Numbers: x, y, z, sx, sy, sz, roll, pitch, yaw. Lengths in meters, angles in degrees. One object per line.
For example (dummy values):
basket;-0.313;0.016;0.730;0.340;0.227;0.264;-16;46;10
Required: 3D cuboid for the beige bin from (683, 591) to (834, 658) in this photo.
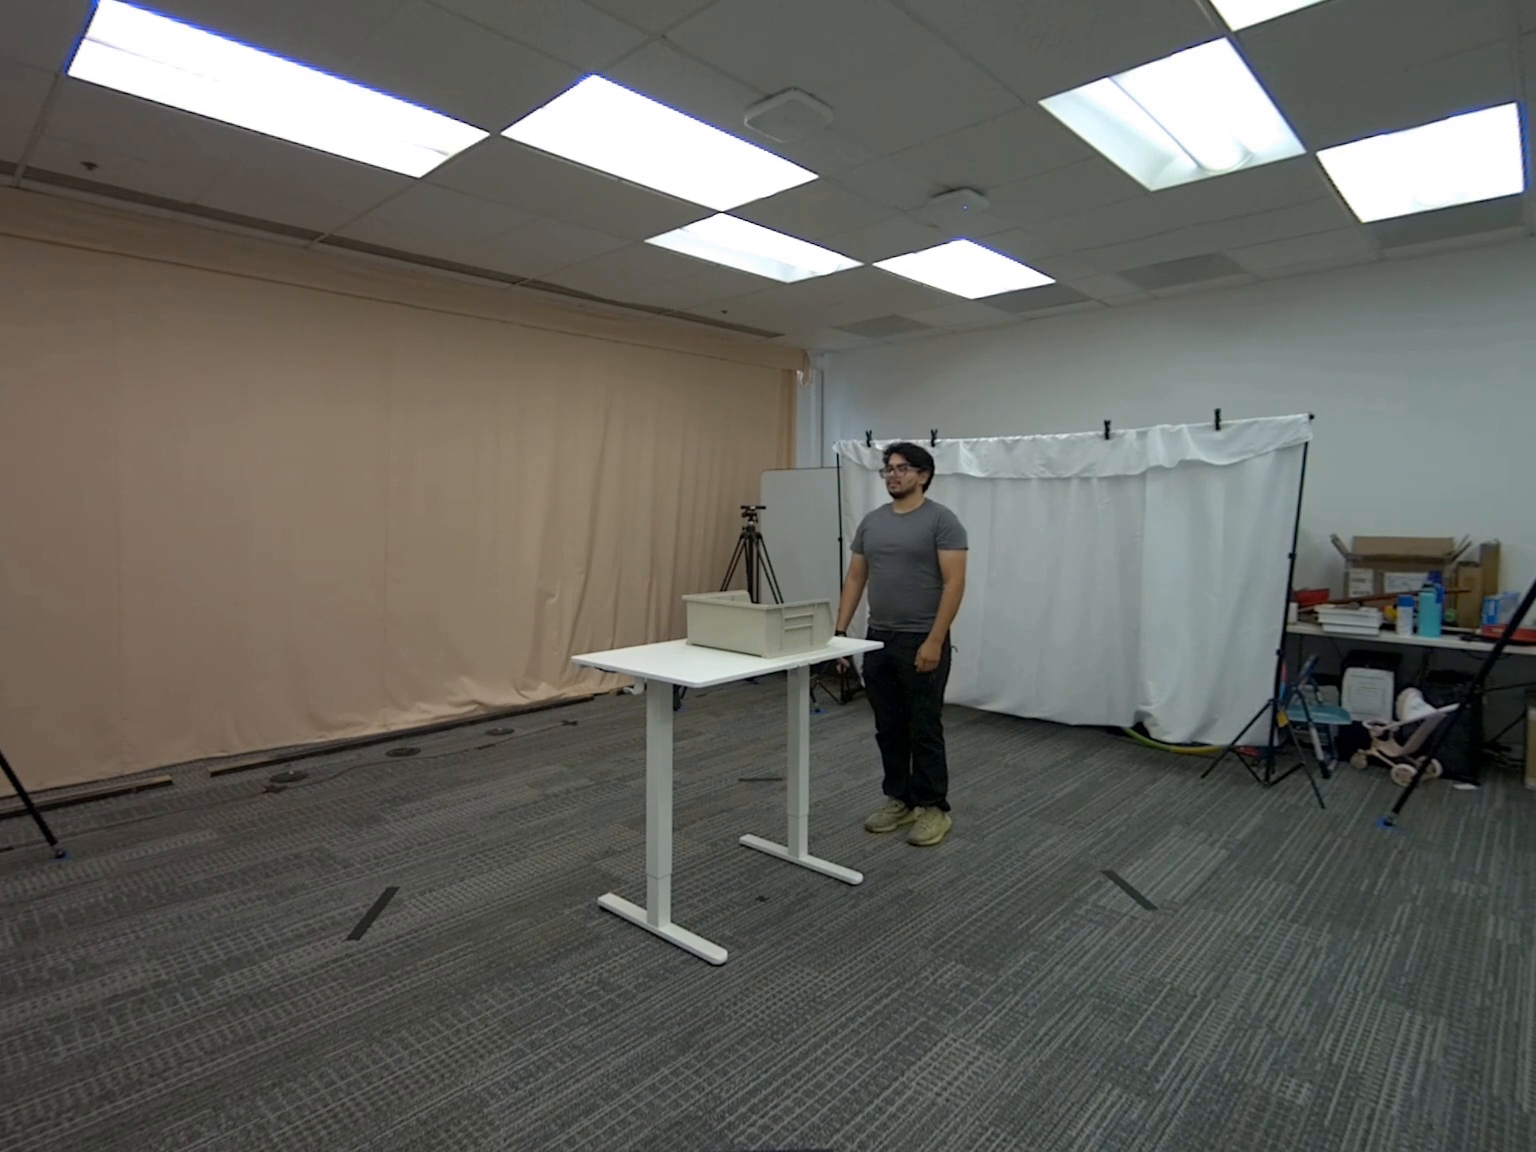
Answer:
beige bin;-0.032;0.169;3.066;0.436;0.188;0.366;5;7;43
